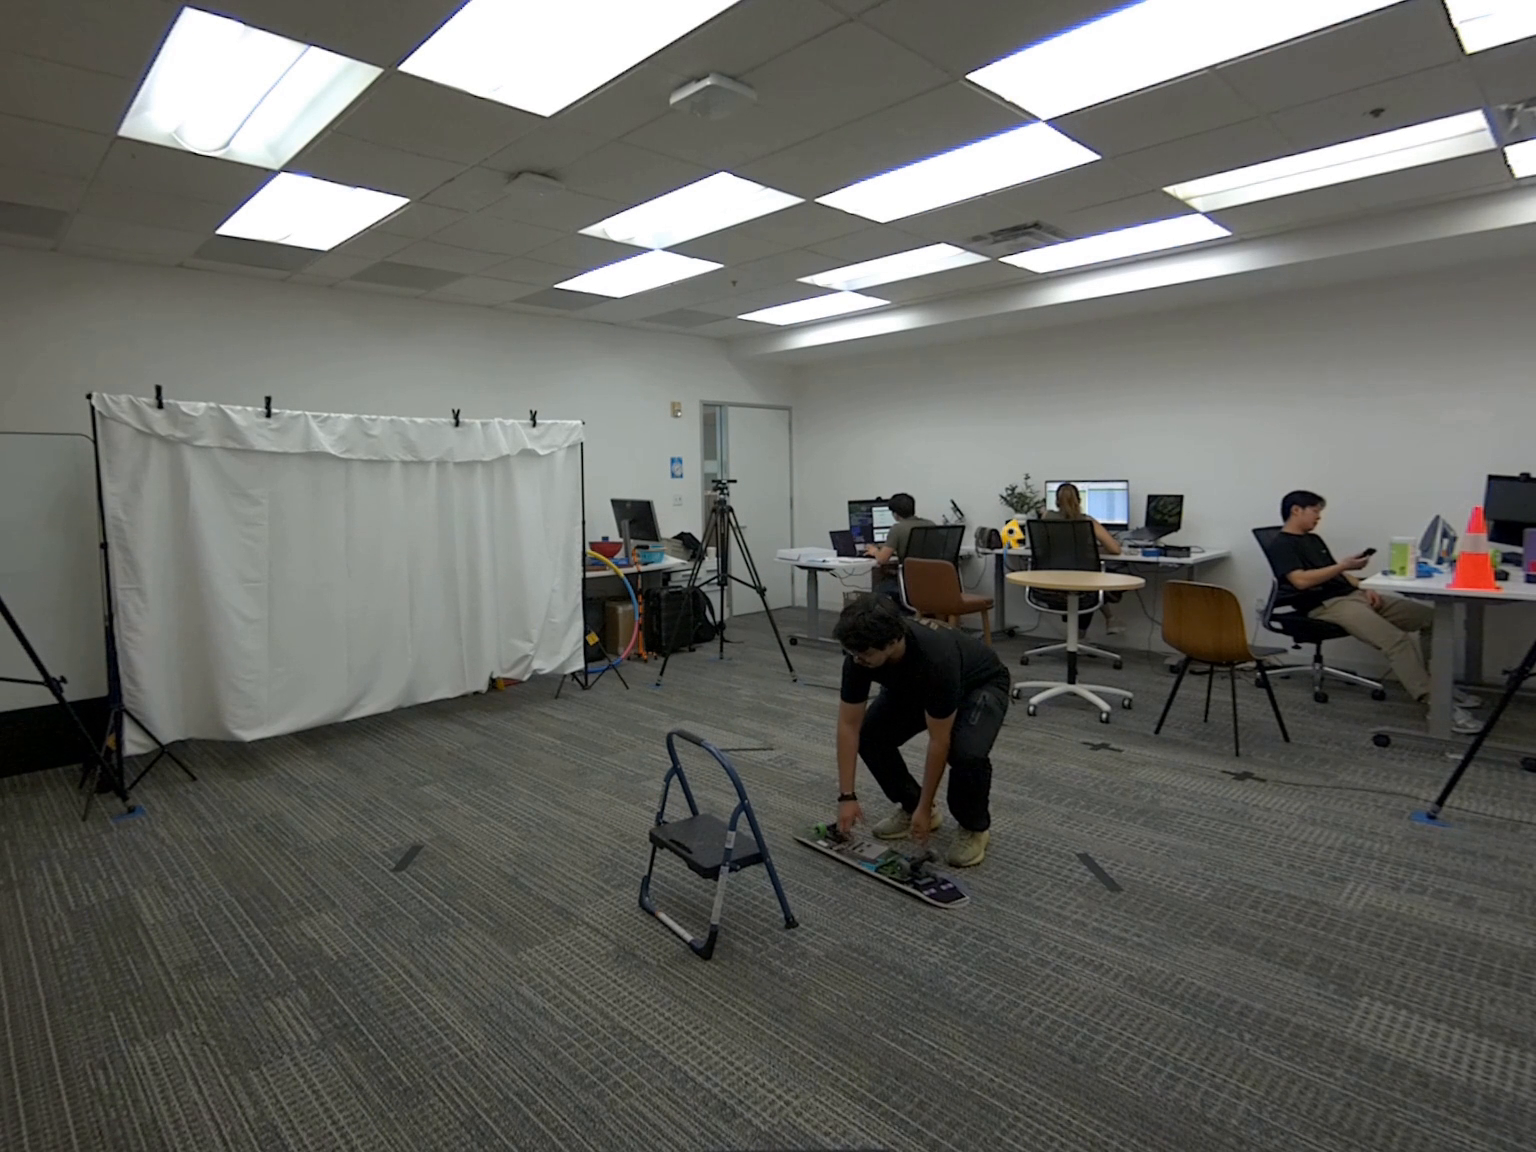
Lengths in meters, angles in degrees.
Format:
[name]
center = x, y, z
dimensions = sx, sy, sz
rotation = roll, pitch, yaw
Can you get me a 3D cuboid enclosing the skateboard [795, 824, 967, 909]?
[skateboard]
center = 0.392, 0.996, 3.083
dimensions = 0.188, 0.110, 0.810
rotation = -5, 8, -39
